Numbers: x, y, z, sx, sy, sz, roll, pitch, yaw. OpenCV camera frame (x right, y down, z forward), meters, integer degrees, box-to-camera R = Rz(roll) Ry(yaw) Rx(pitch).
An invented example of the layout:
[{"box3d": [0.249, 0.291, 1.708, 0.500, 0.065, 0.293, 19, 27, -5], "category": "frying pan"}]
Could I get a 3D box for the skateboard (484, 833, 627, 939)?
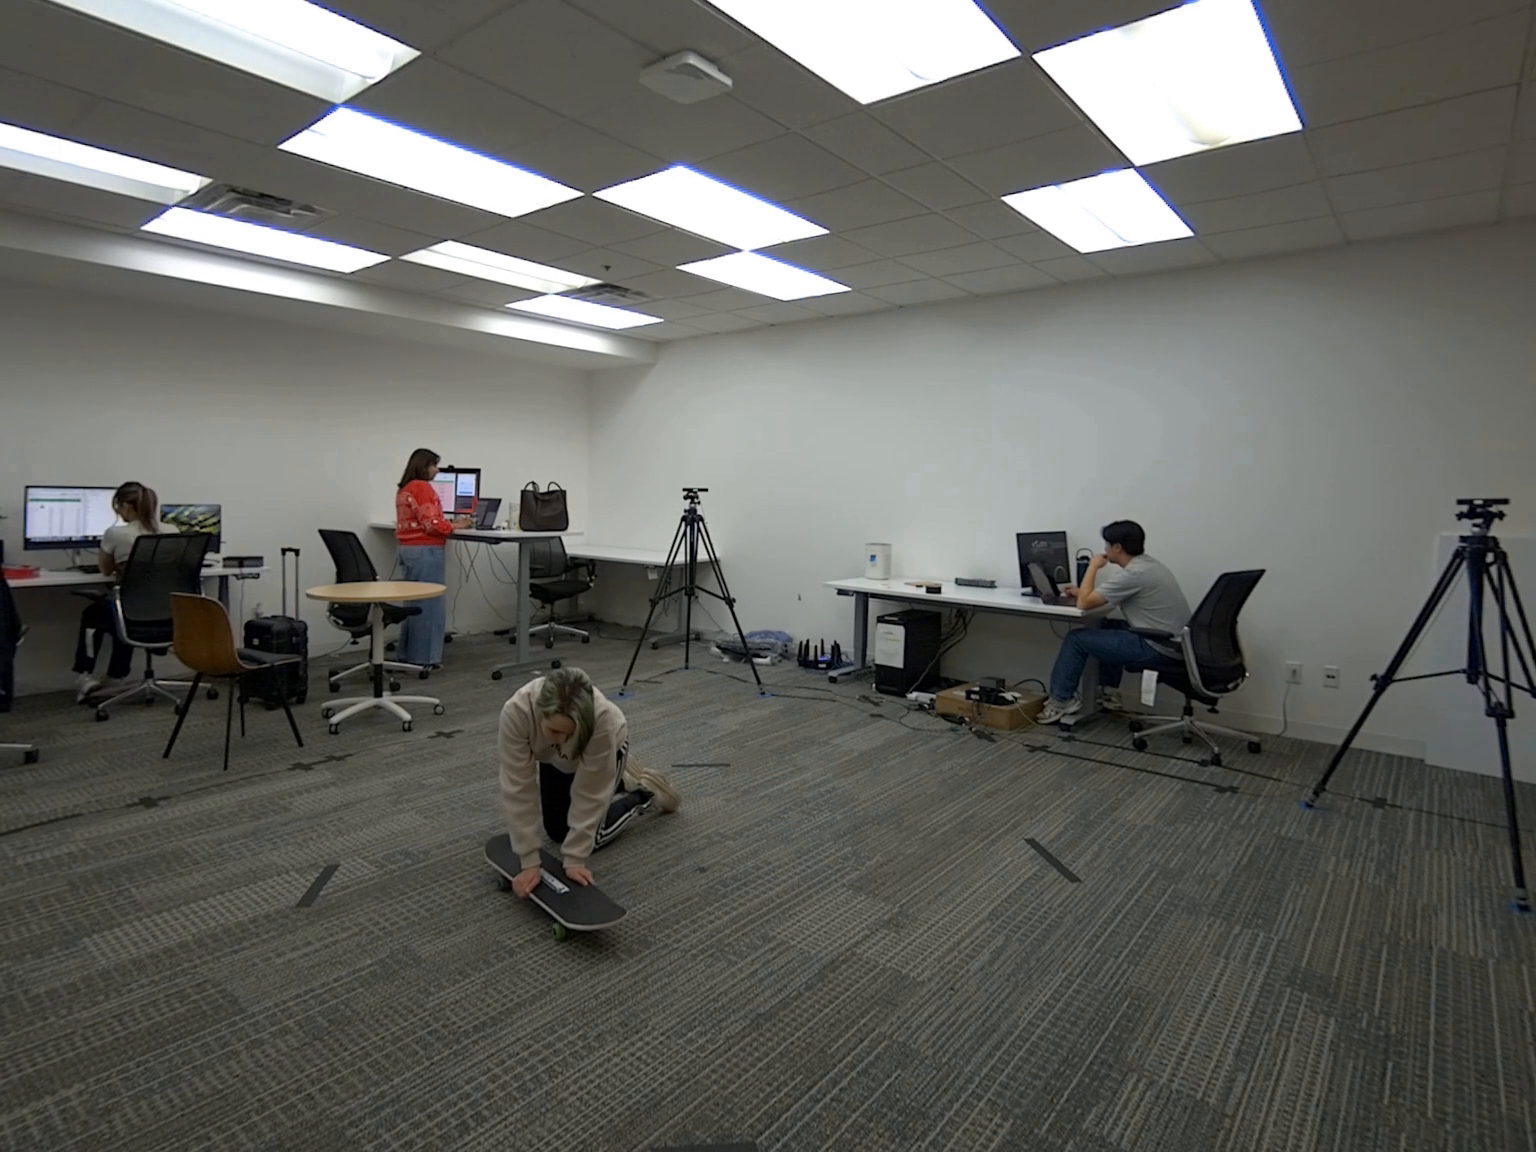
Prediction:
[{"box3d": [-0.734, 1.030, 2.812, 0.188, 0.110, 0.812, -3, 7, -40], "category": "skateboard"}]
